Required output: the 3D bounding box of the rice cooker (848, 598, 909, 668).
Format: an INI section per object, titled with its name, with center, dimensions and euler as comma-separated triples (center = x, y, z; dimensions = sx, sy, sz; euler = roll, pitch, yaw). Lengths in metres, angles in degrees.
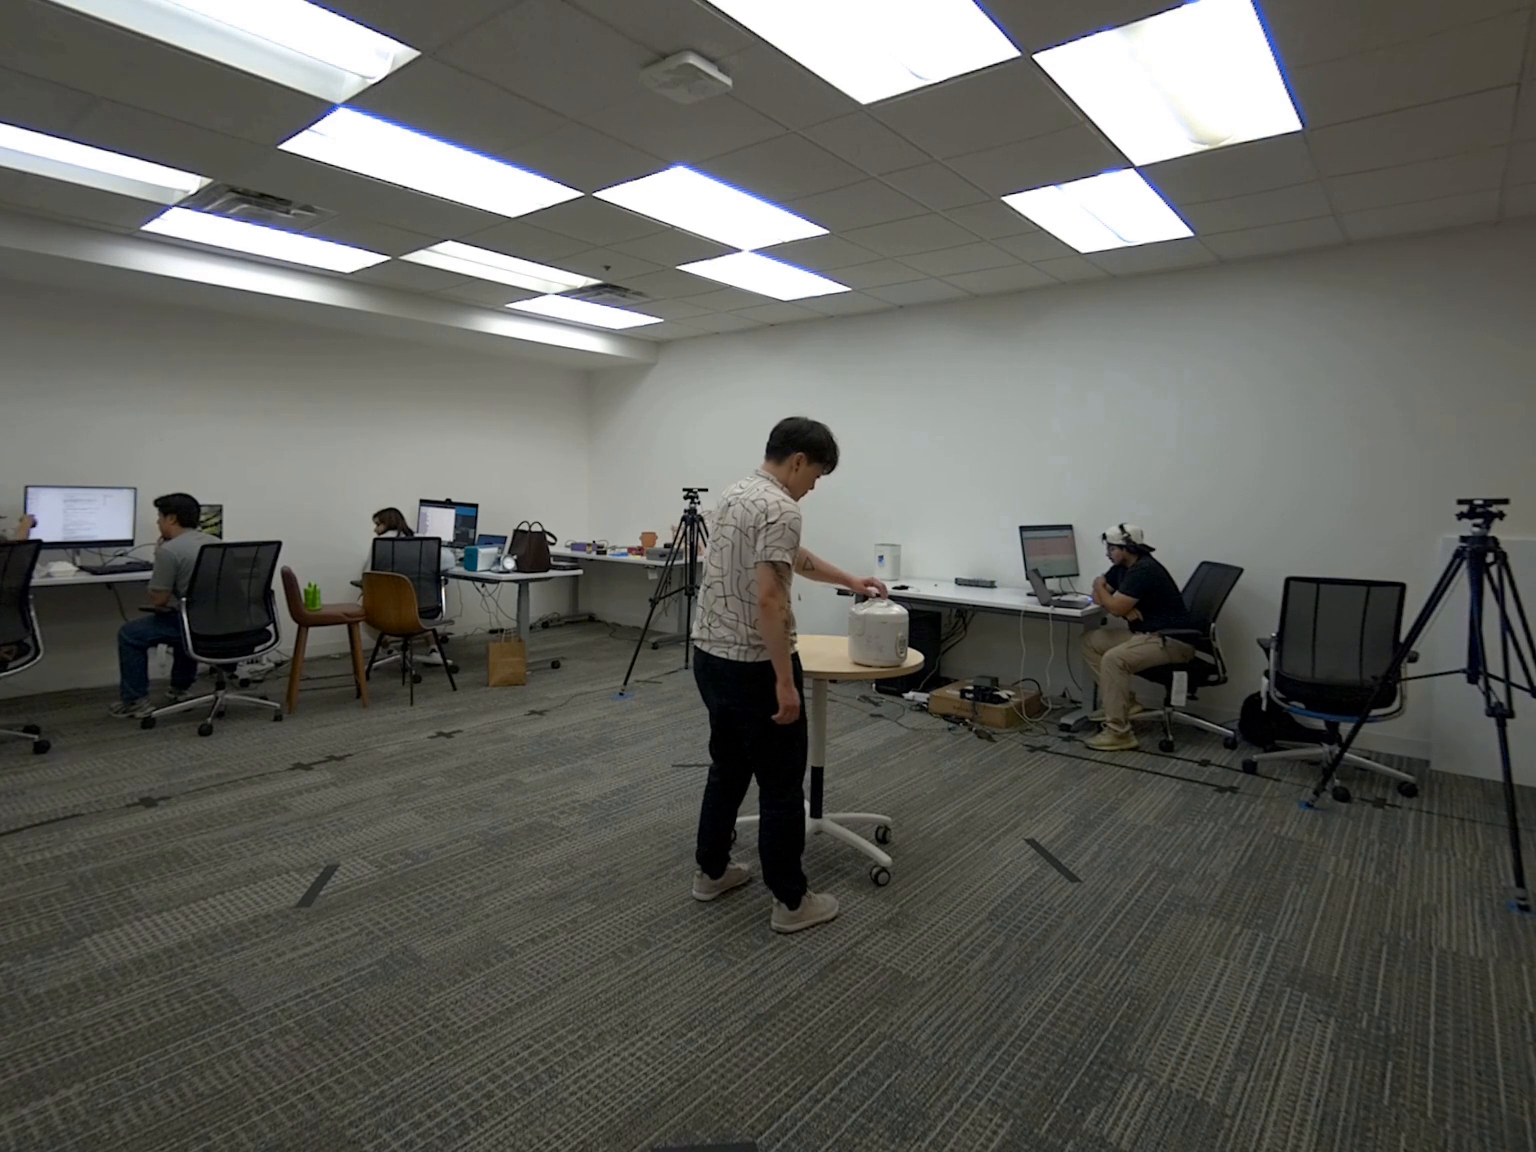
[rice cooker]
center = 0.391, 0.192, 3.025
dimensions = 0.214, 0.232, 0.225
euler = -4, 5, -42
